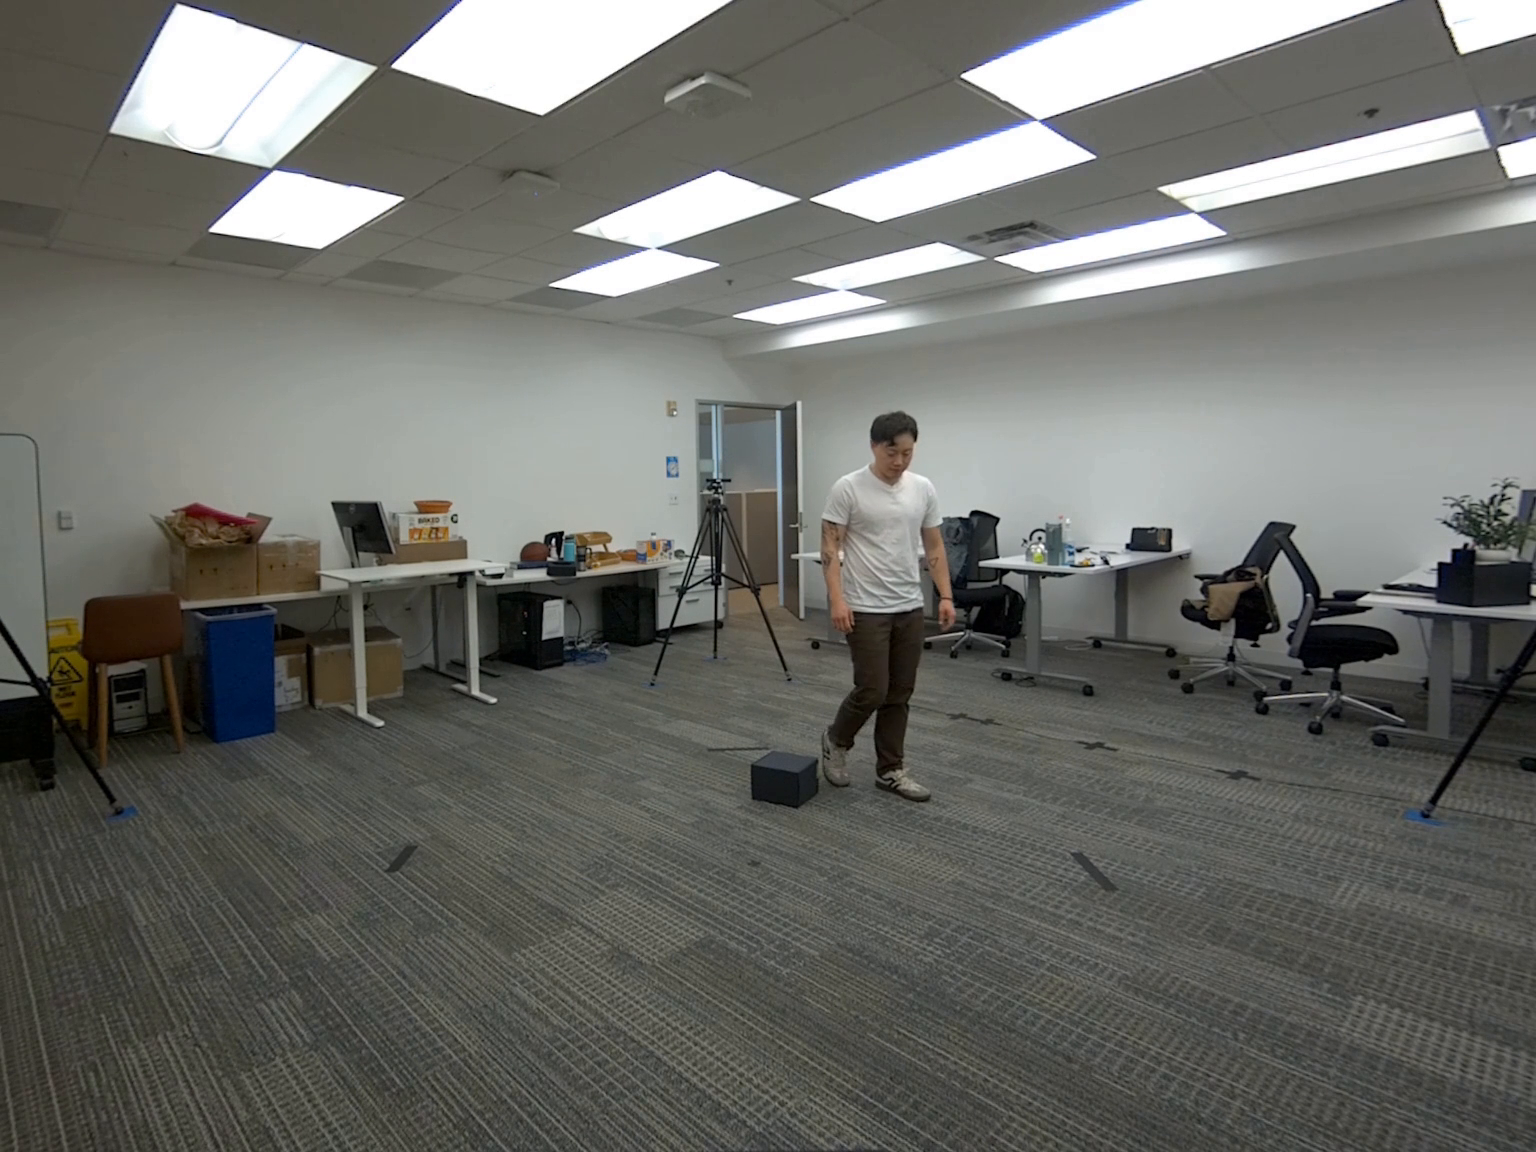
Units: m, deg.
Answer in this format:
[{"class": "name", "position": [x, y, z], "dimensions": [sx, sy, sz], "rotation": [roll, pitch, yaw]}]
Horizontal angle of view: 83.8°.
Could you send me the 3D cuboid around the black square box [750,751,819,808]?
[{"class": "black square box", "position": [0.077, 0.886, 3.753], "dimensions": [0.234, 0.155, 0.212], "rotation": [2, 5, 28]}]
